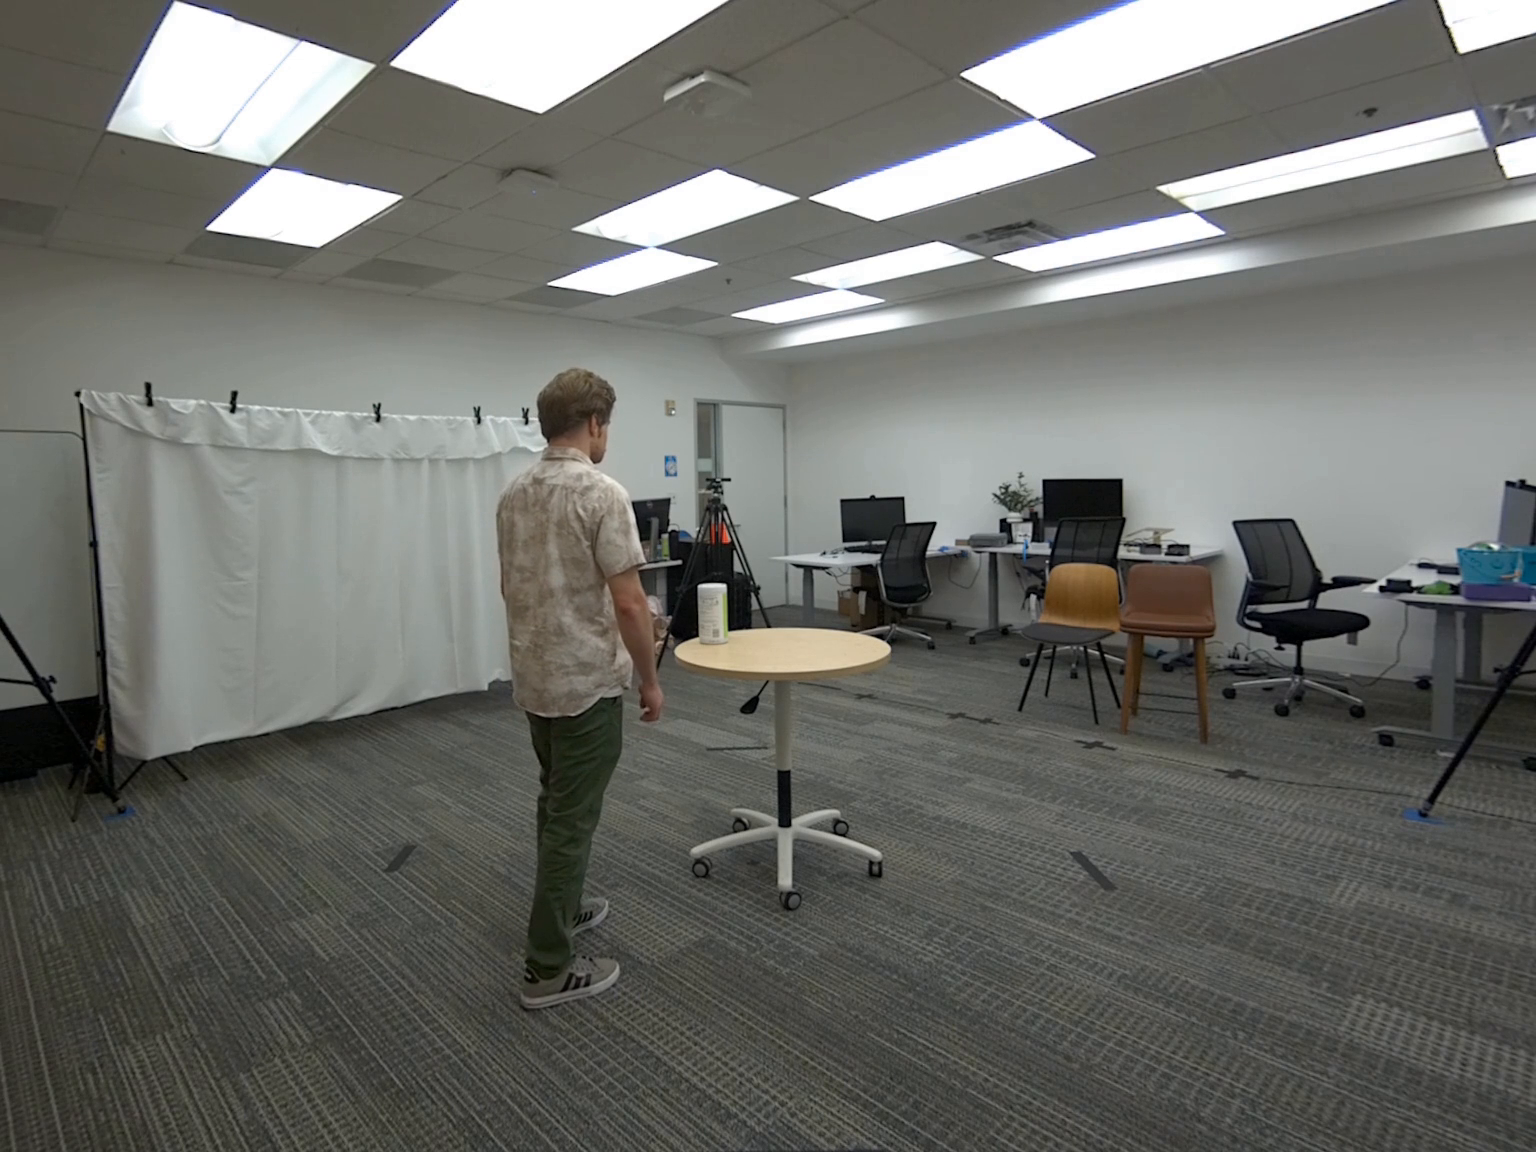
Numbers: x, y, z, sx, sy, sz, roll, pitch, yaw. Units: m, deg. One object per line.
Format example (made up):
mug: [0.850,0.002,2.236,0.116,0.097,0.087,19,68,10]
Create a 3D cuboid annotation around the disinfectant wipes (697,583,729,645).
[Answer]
disinfectant wipes: [-0.200,0.141,3.179,0.118,0.217,0.118,-2,3,-2]
